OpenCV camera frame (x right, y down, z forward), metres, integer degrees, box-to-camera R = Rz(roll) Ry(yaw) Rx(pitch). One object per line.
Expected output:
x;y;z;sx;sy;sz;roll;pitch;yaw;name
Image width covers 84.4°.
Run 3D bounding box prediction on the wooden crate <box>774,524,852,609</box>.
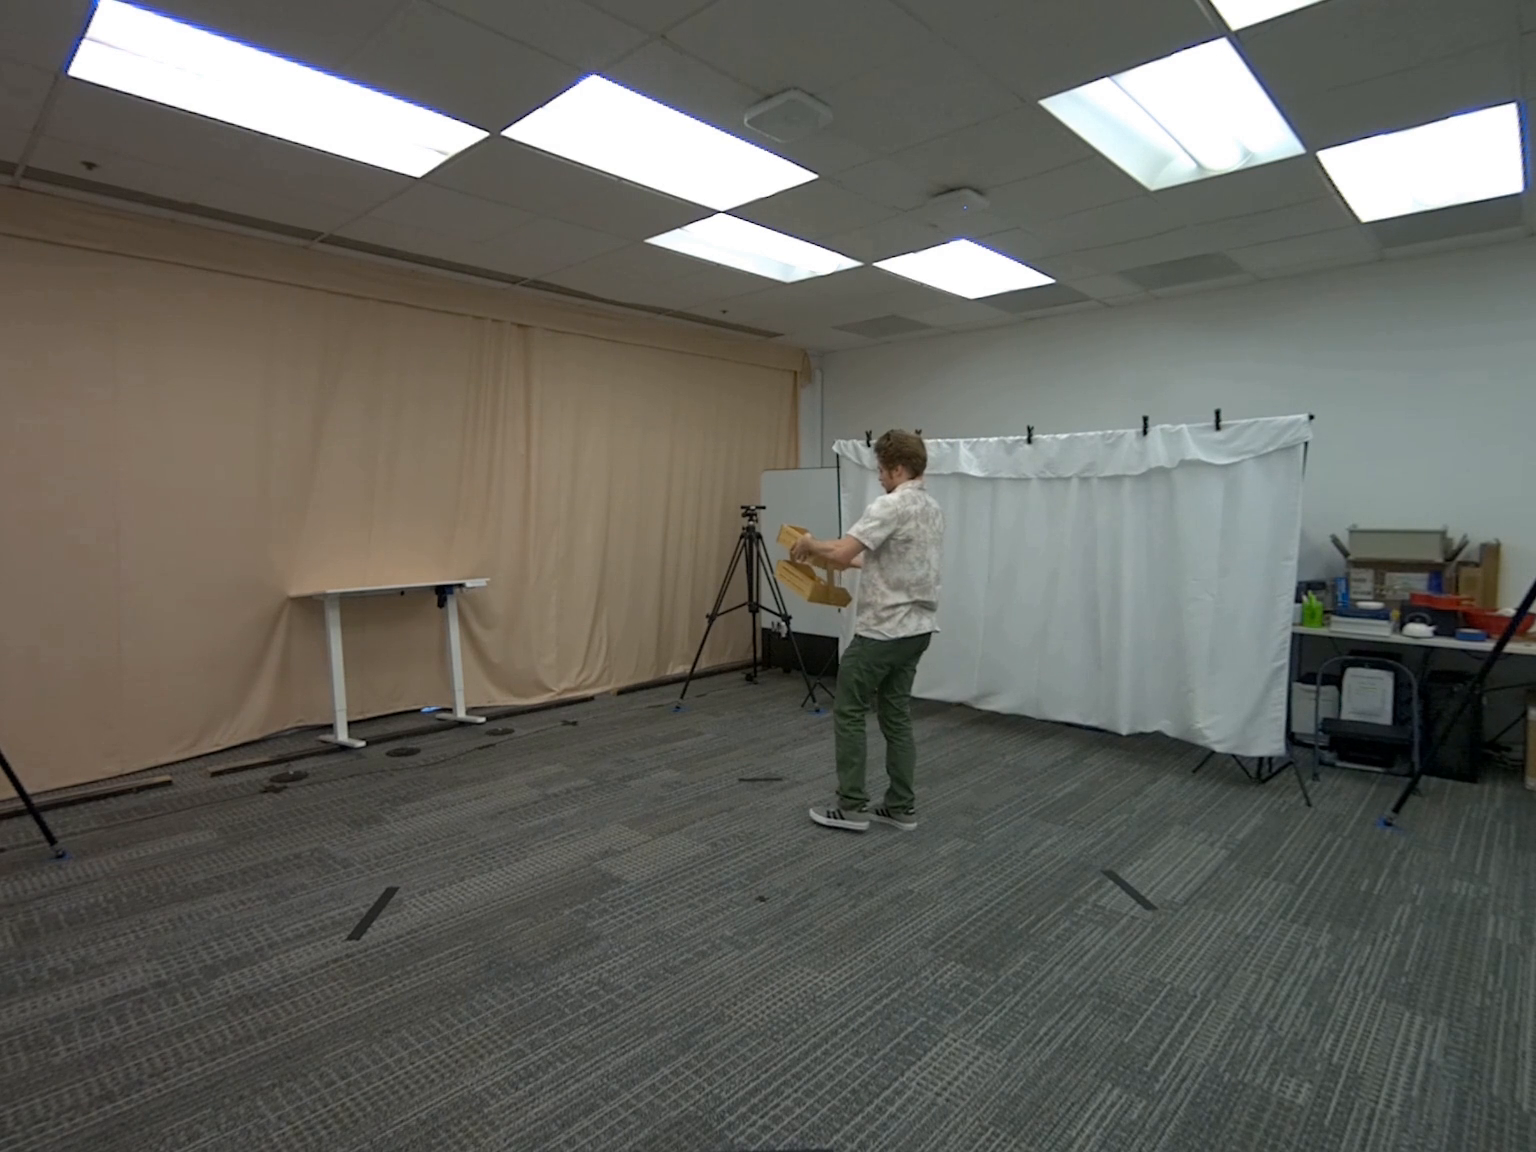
0.233;-0.046;3.927;0.292;0.272;0.336;12;15;-36;wooden crate
